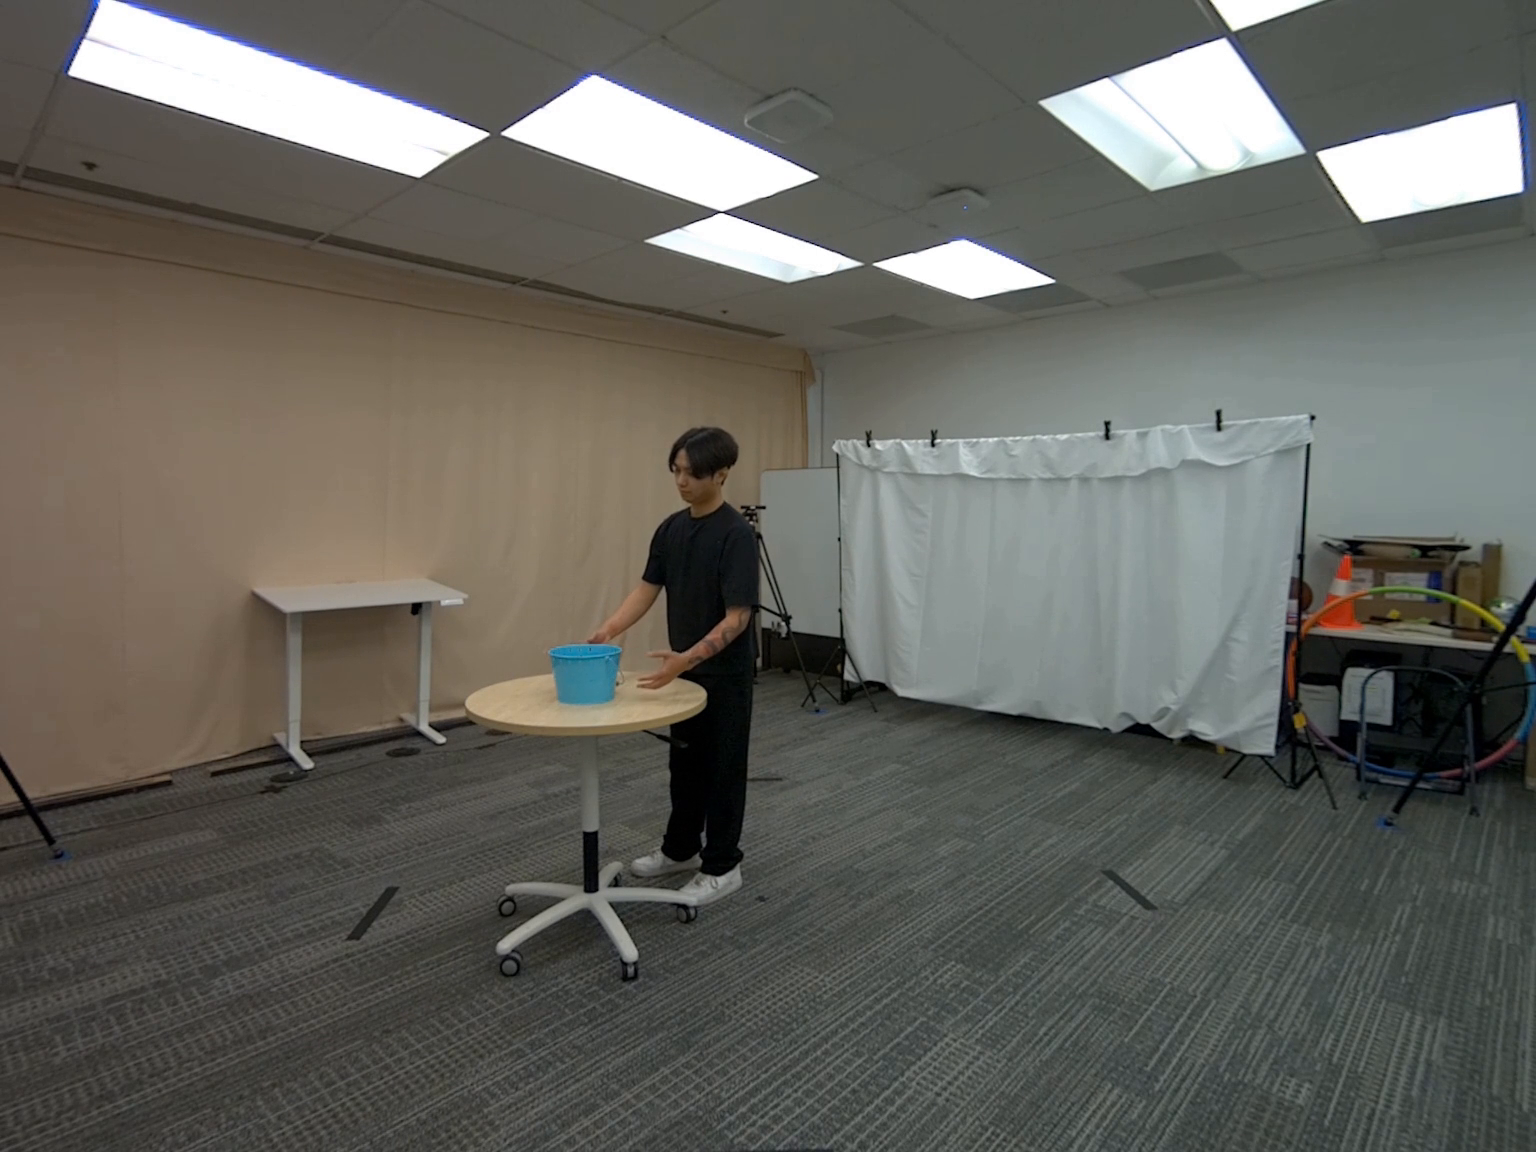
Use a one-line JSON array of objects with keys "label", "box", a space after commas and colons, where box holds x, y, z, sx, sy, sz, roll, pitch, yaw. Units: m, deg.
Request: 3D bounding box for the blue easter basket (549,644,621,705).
[{"label": "blue easter basket", "box": [-0.580, 0.316, 2.666, 0.243, 0.155, 0.244, 0, 4, -2]}]
